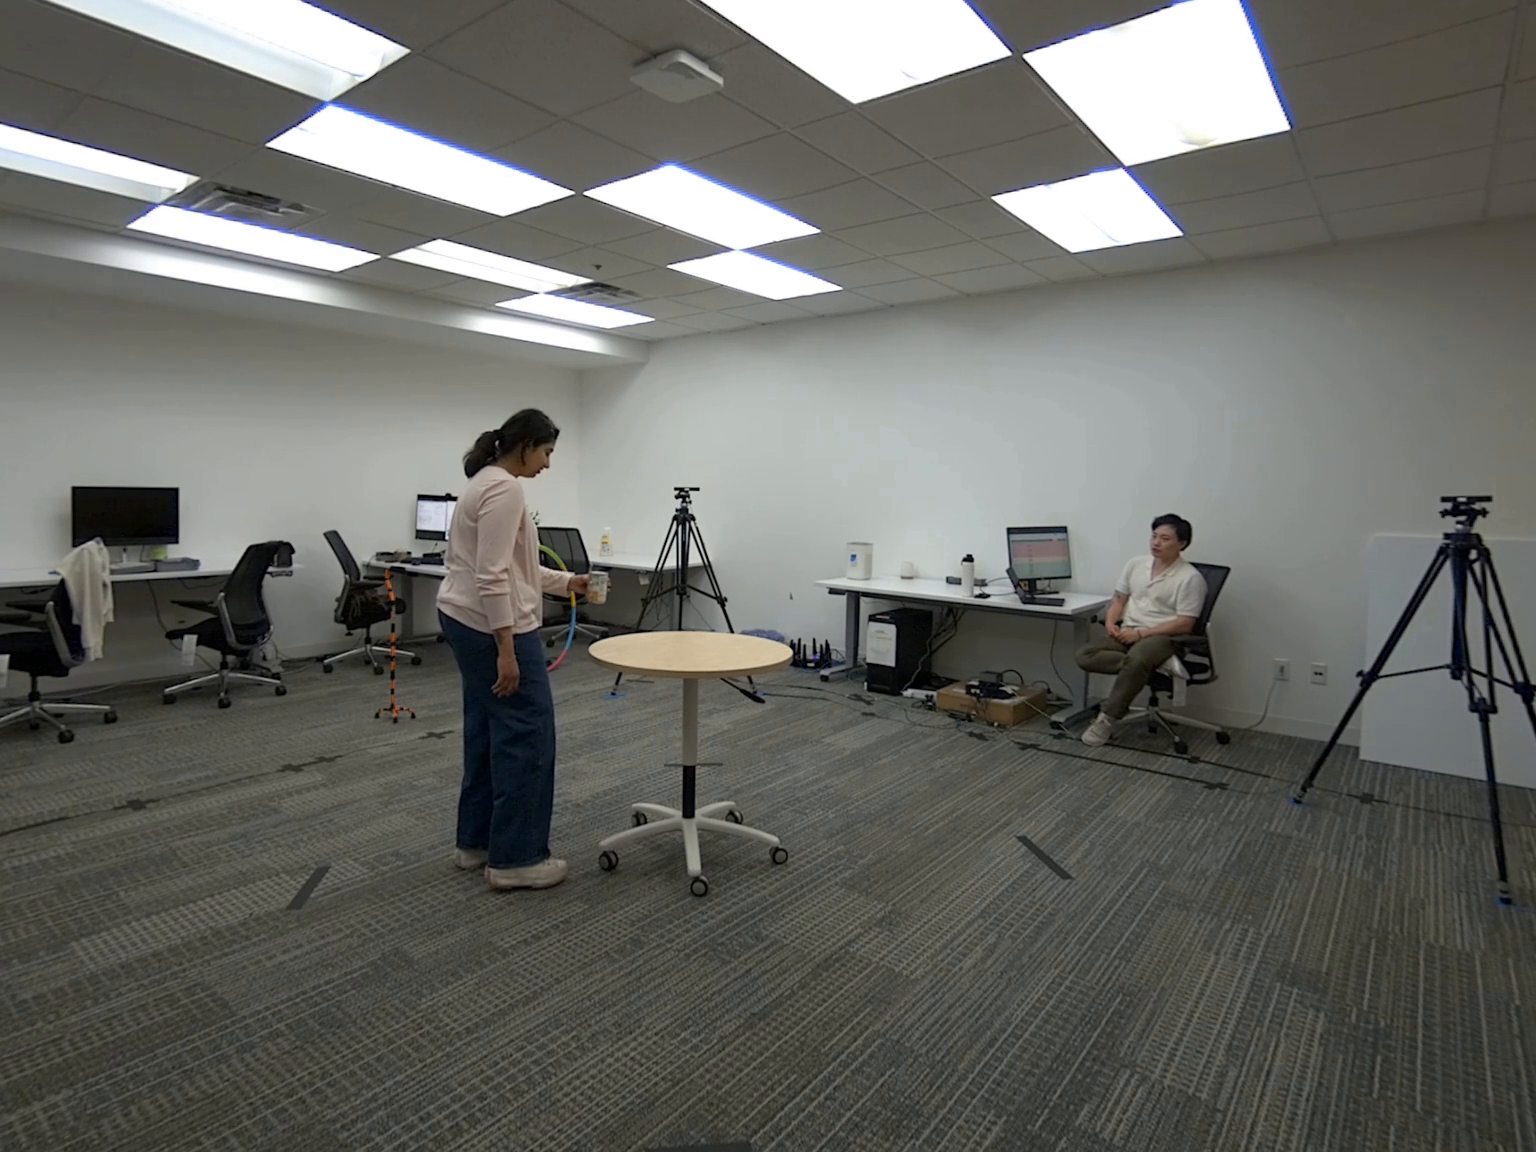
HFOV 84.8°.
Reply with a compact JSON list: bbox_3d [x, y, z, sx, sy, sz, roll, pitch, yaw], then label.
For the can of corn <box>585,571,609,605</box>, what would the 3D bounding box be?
[{"bbox_3d":[-0.671,0.039,3.255,0.074,0.110,0.075,8,5,-3],"label":"can of corn"}]
